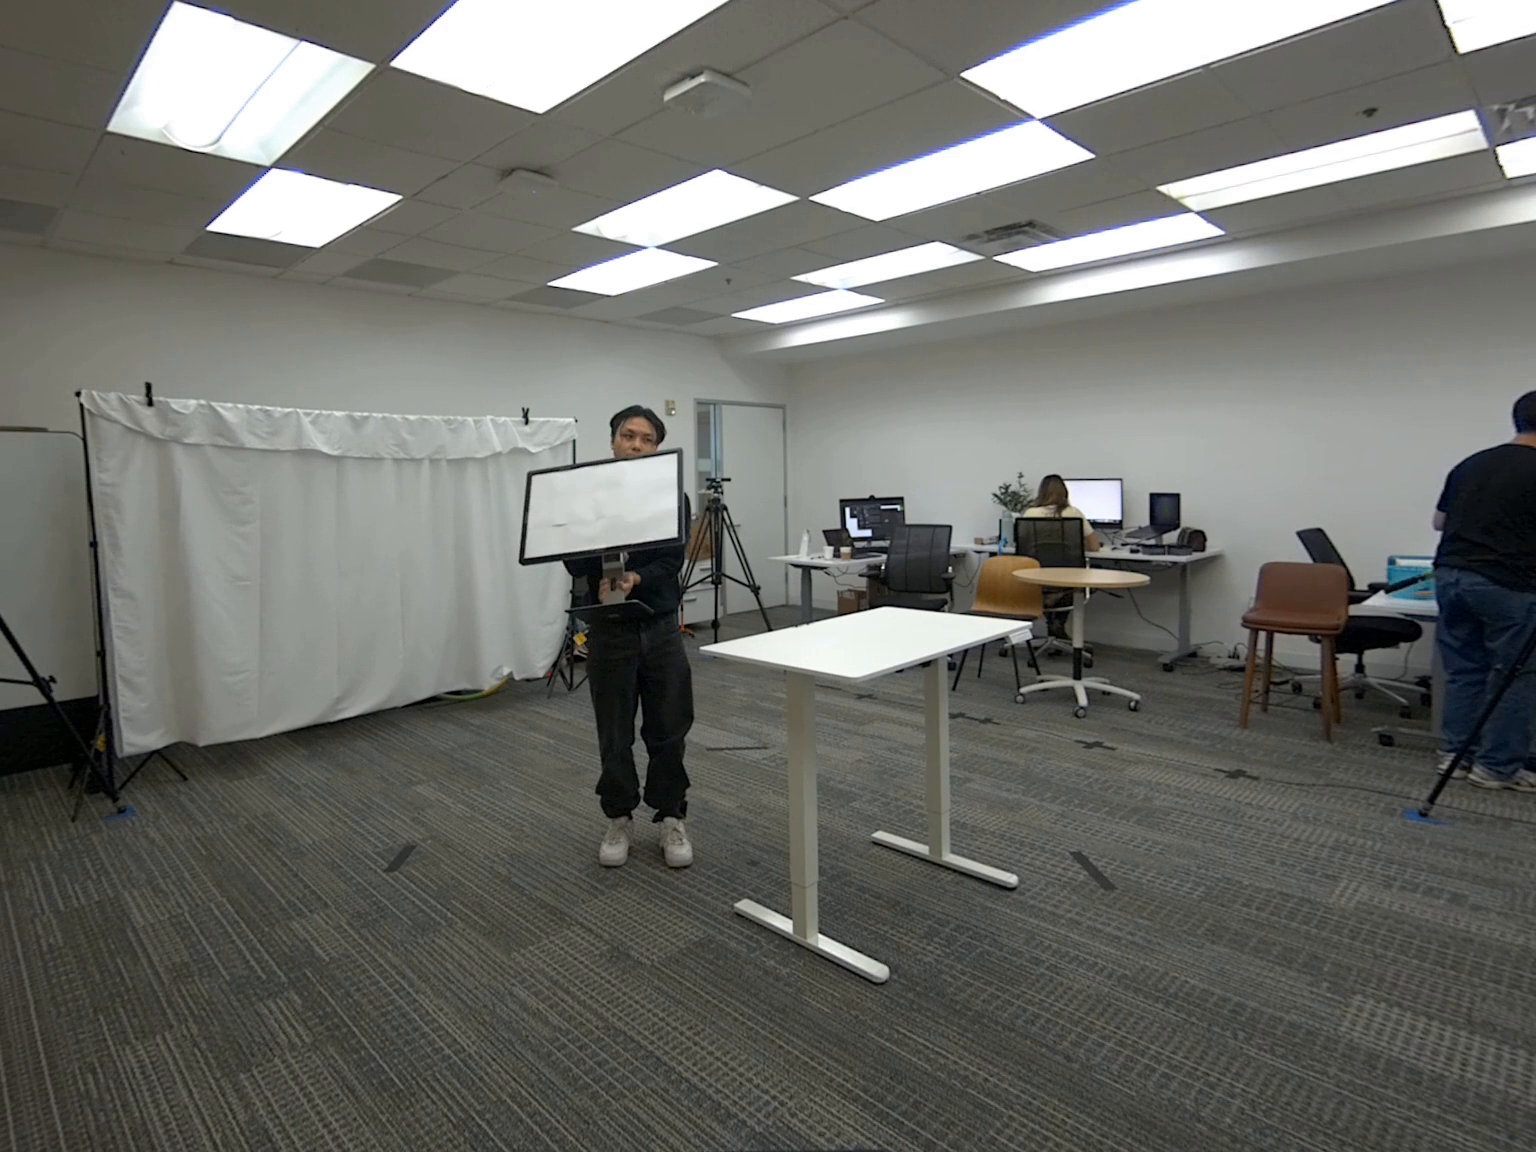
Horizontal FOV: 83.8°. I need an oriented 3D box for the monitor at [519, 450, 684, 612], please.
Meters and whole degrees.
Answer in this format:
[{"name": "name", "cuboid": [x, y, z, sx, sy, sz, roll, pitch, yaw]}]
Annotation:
[{"name": "monitor", "cuboid": [-0.529, -0.123, 2.851, 0.542, 0.532, 0.183, -9, -18, 7]}]
